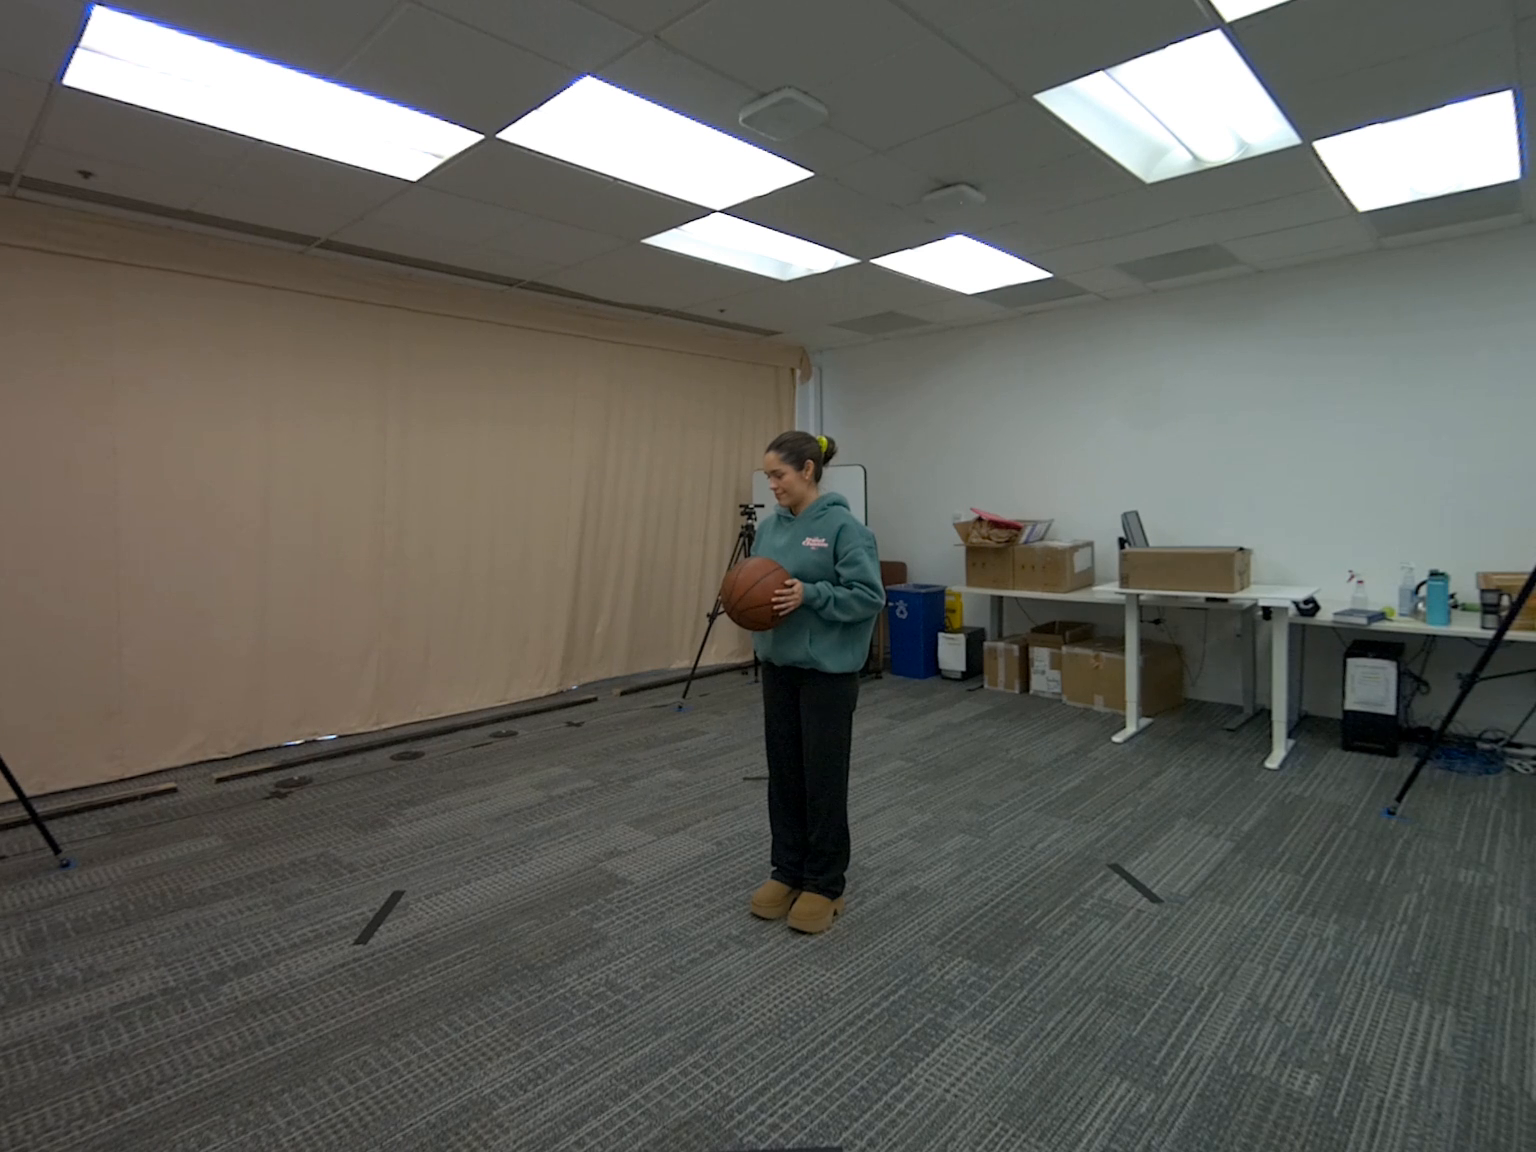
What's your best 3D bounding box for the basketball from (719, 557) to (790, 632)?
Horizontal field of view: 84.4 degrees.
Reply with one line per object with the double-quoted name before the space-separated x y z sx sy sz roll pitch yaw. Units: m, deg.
"basketball" -0.031 0.059 2.675 0.236 0.235 0.237 -1 4 -2
